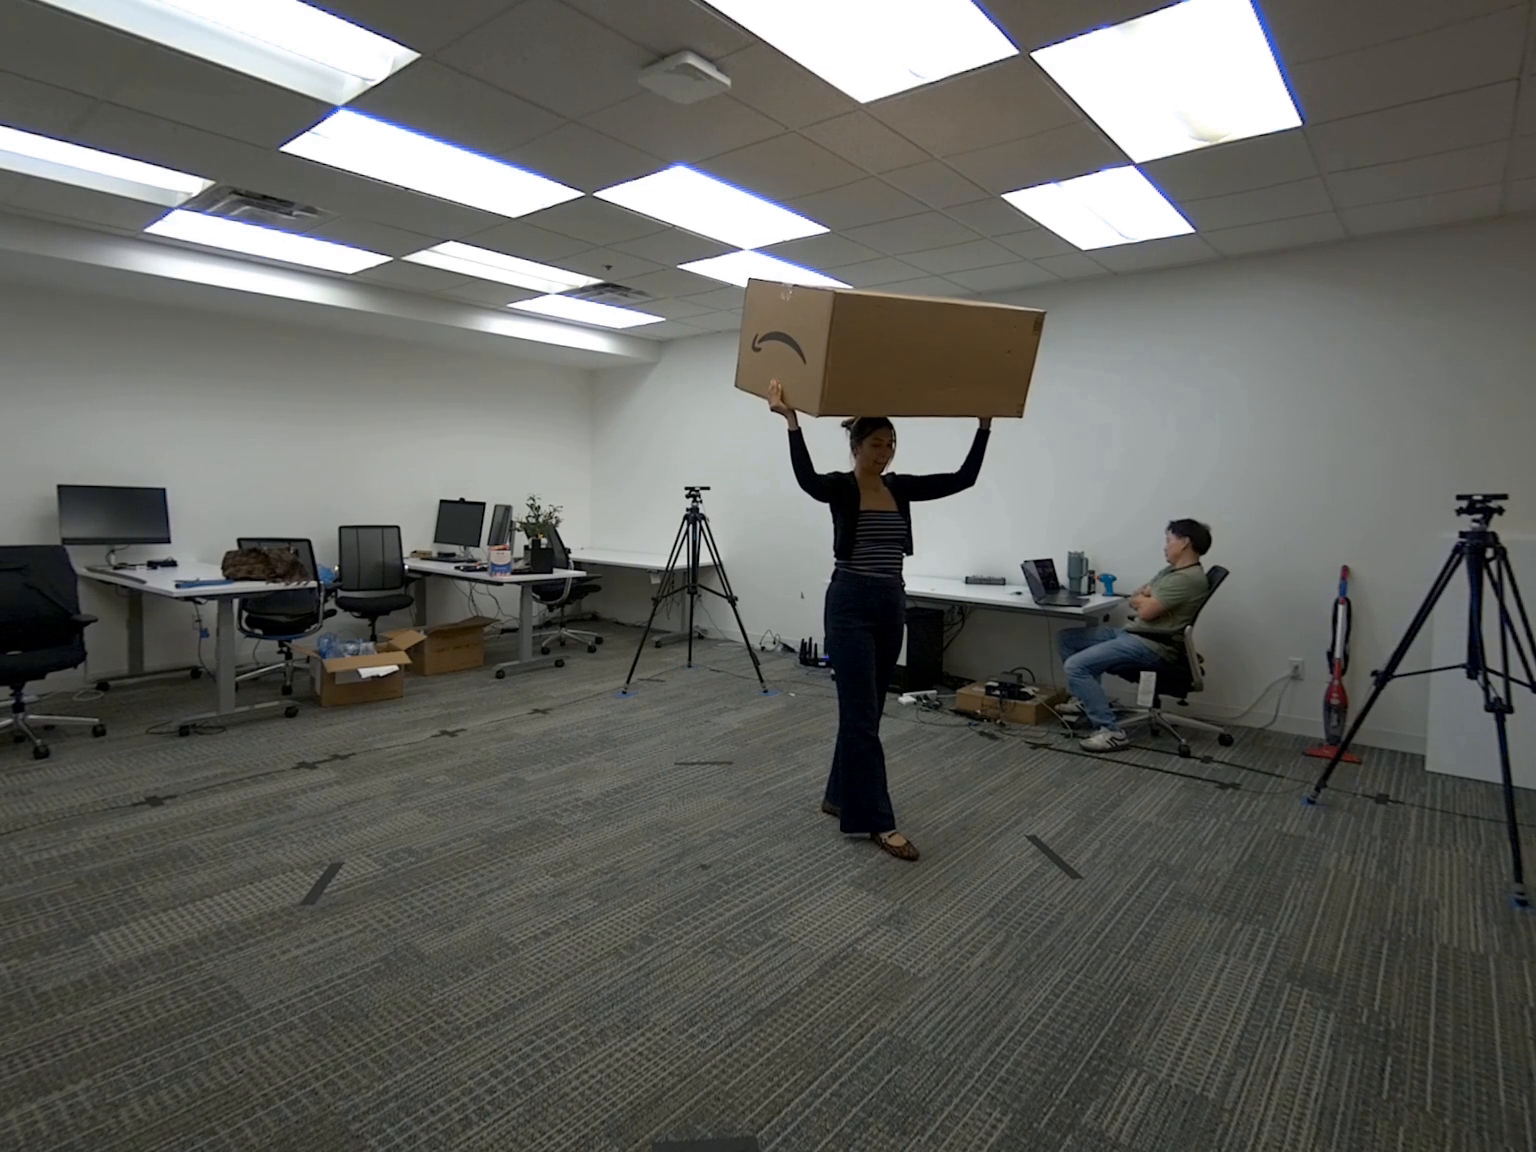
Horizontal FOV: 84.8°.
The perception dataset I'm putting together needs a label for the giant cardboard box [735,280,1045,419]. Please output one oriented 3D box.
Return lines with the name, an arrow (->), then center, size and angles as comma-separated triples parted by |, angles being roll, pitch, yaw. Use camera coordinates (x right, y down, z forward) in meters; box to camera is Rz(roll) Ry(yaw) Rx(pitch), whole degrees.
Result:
giant cardboard box -> 0.456, -0.882, 3.326 | 1.000, 0.420, 0.601 | -5, 23, -30
